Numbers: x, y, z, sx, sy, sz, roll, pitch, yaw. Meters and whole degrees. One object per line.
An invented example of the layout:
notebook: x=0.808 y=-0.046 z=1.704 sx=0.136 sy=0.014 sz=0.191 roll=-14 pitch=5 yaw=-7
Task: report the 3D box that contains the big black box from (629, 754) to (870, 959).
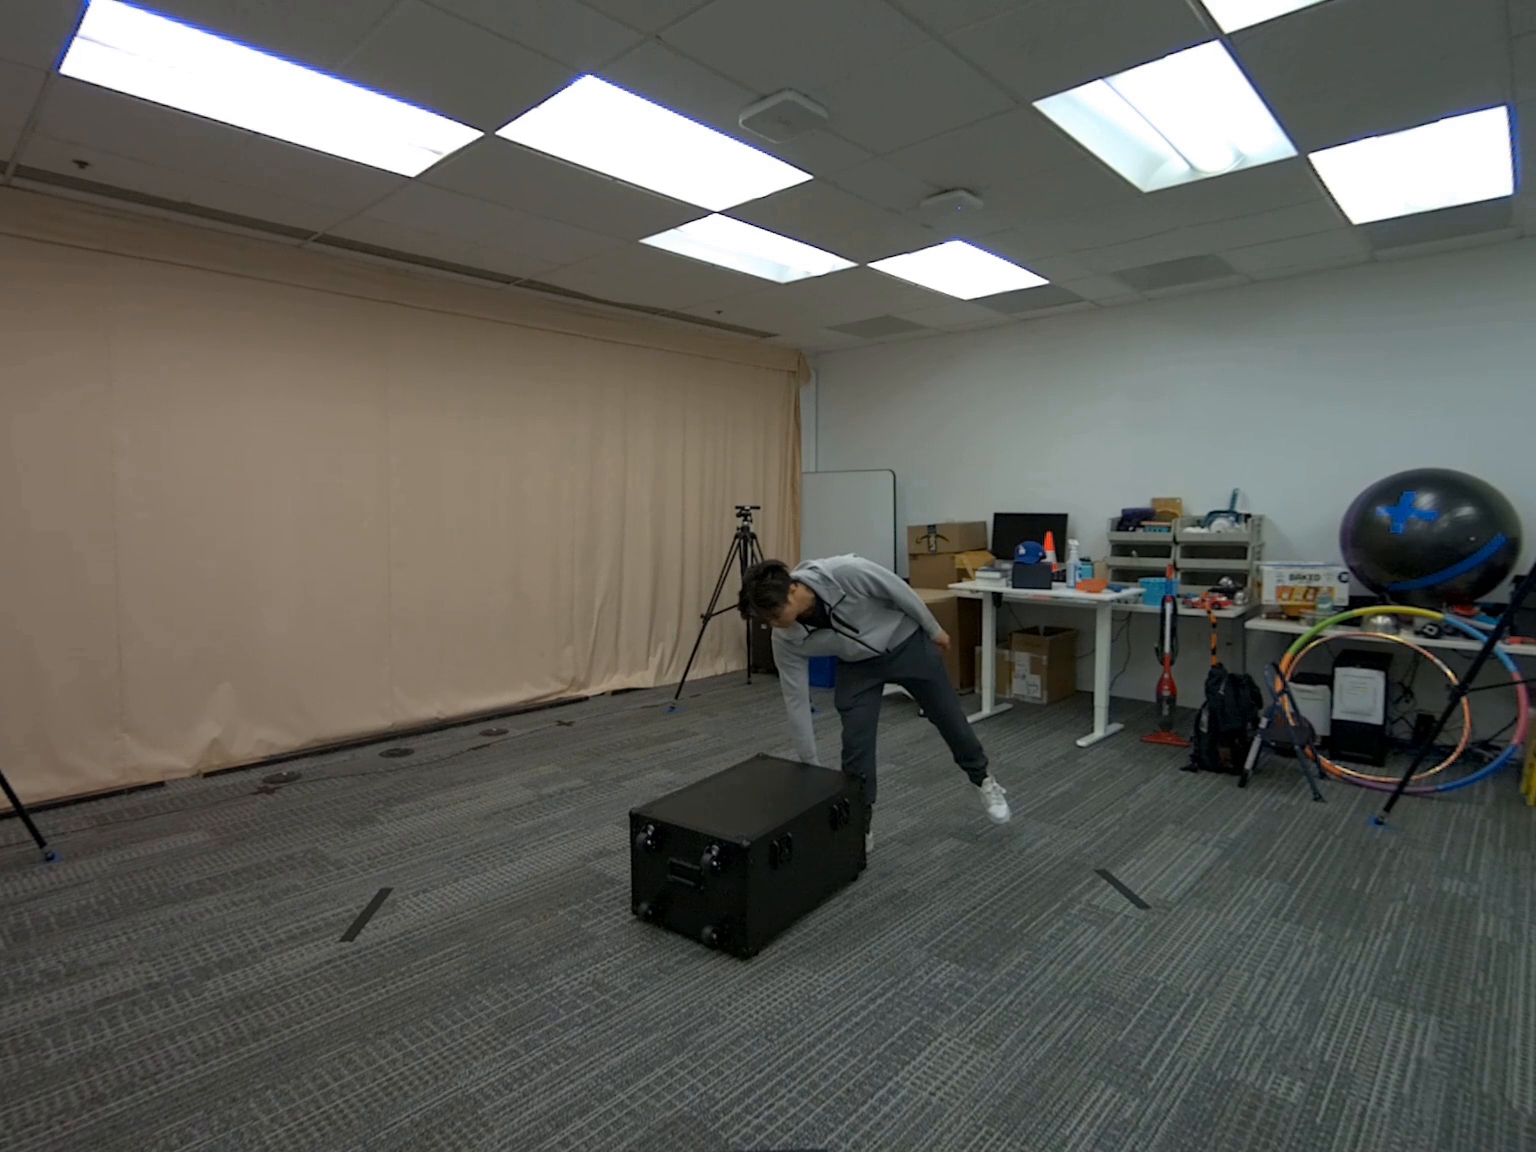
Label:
big black box: x=-0.029 y=0.951 z=3.007 sx=0.538 sy=0.395 sz=0.837 roll=3 pitch=7 yaw=35
